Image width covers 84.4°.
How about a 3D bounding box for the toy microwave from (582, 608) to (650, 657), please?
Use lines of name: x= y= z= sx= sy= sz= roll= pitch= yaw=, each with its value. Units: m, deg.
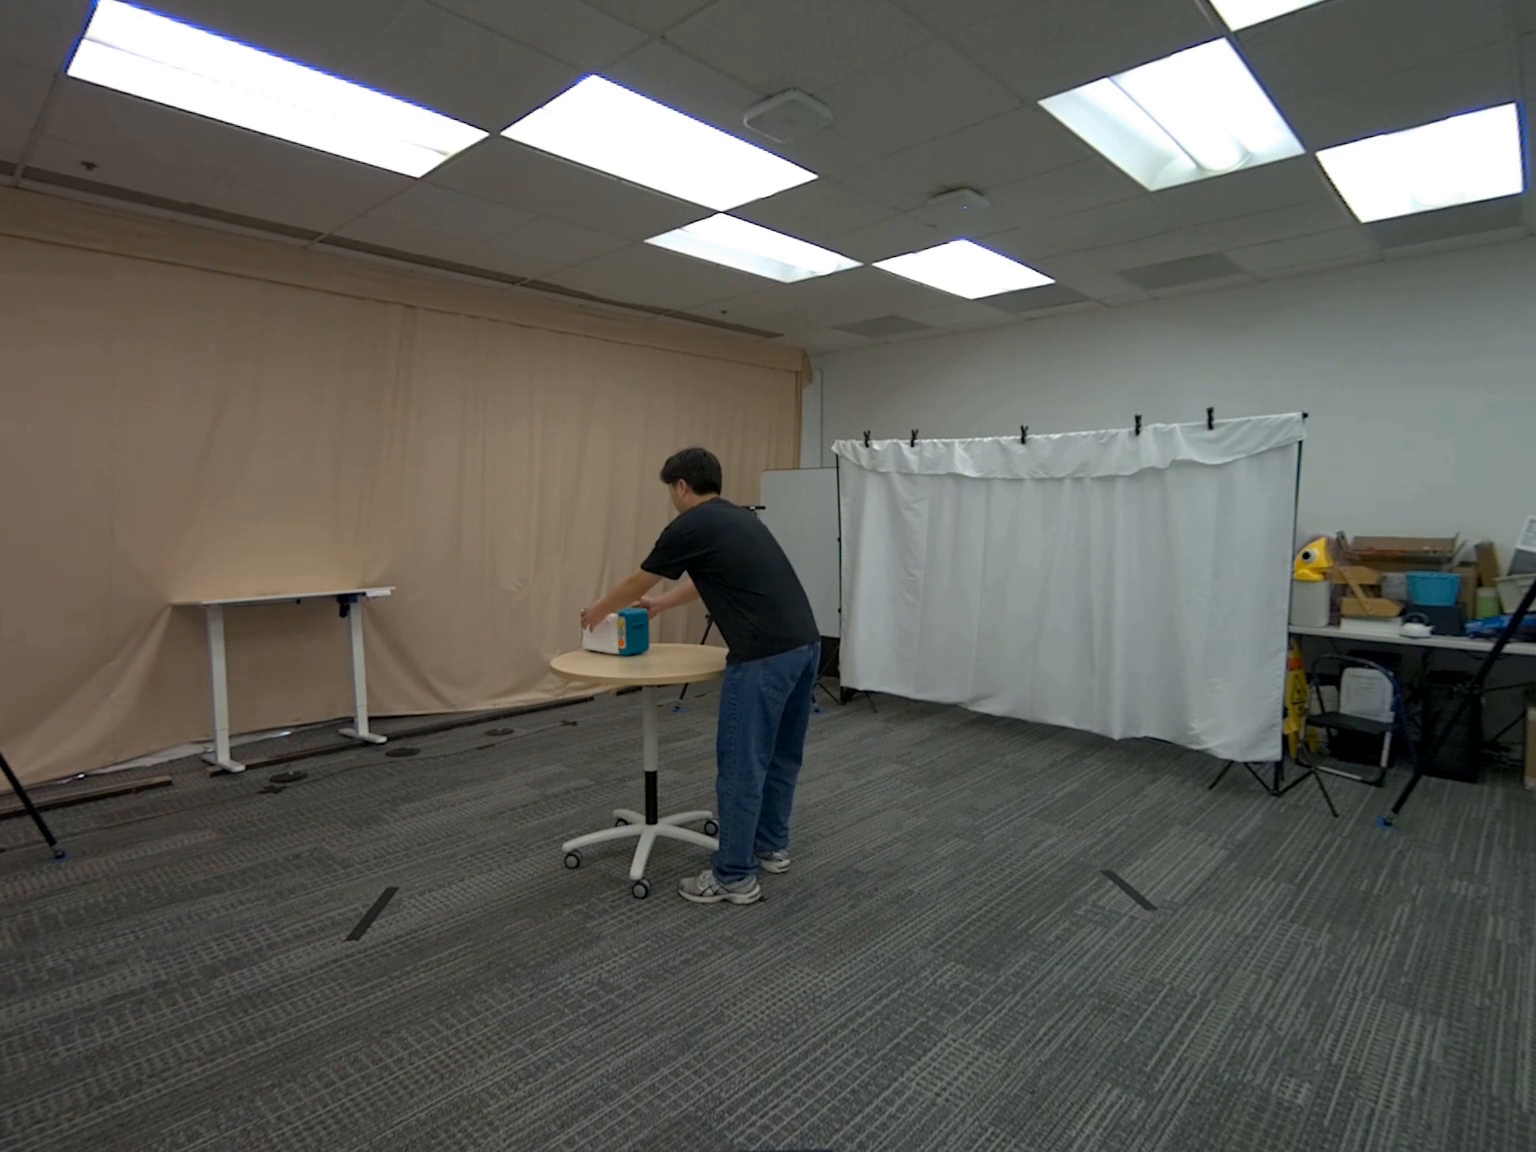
toy microwave: x=-0.639 y=0.222 z=3.467 sx=0.295 sy=0.184 sz=0.148 roll=3 pitch=4 yaw=38
